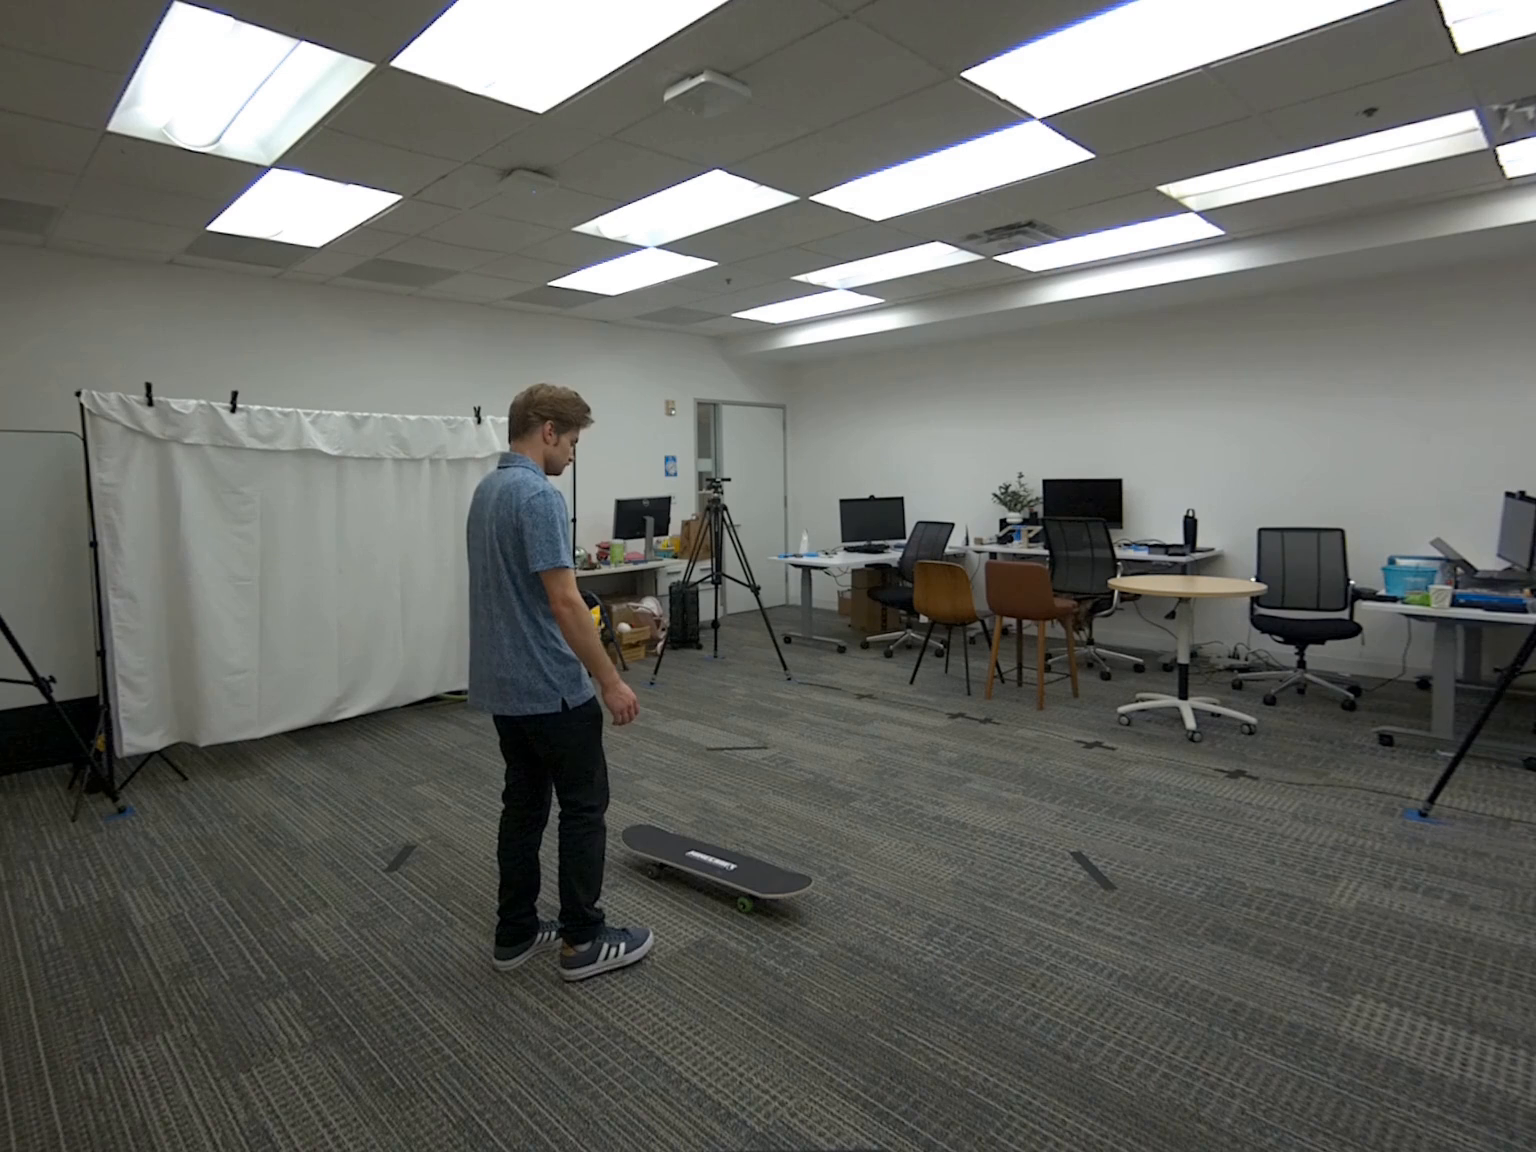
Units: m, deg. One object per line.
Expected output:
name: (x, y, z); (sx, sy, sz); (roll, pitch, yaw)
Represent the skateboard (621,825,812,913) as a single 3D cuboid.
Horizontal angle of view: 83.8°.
skateboard: (-0.192, 1.009, 2.933); (0.809, 0.110, 0.189); (4, 8, 36)
